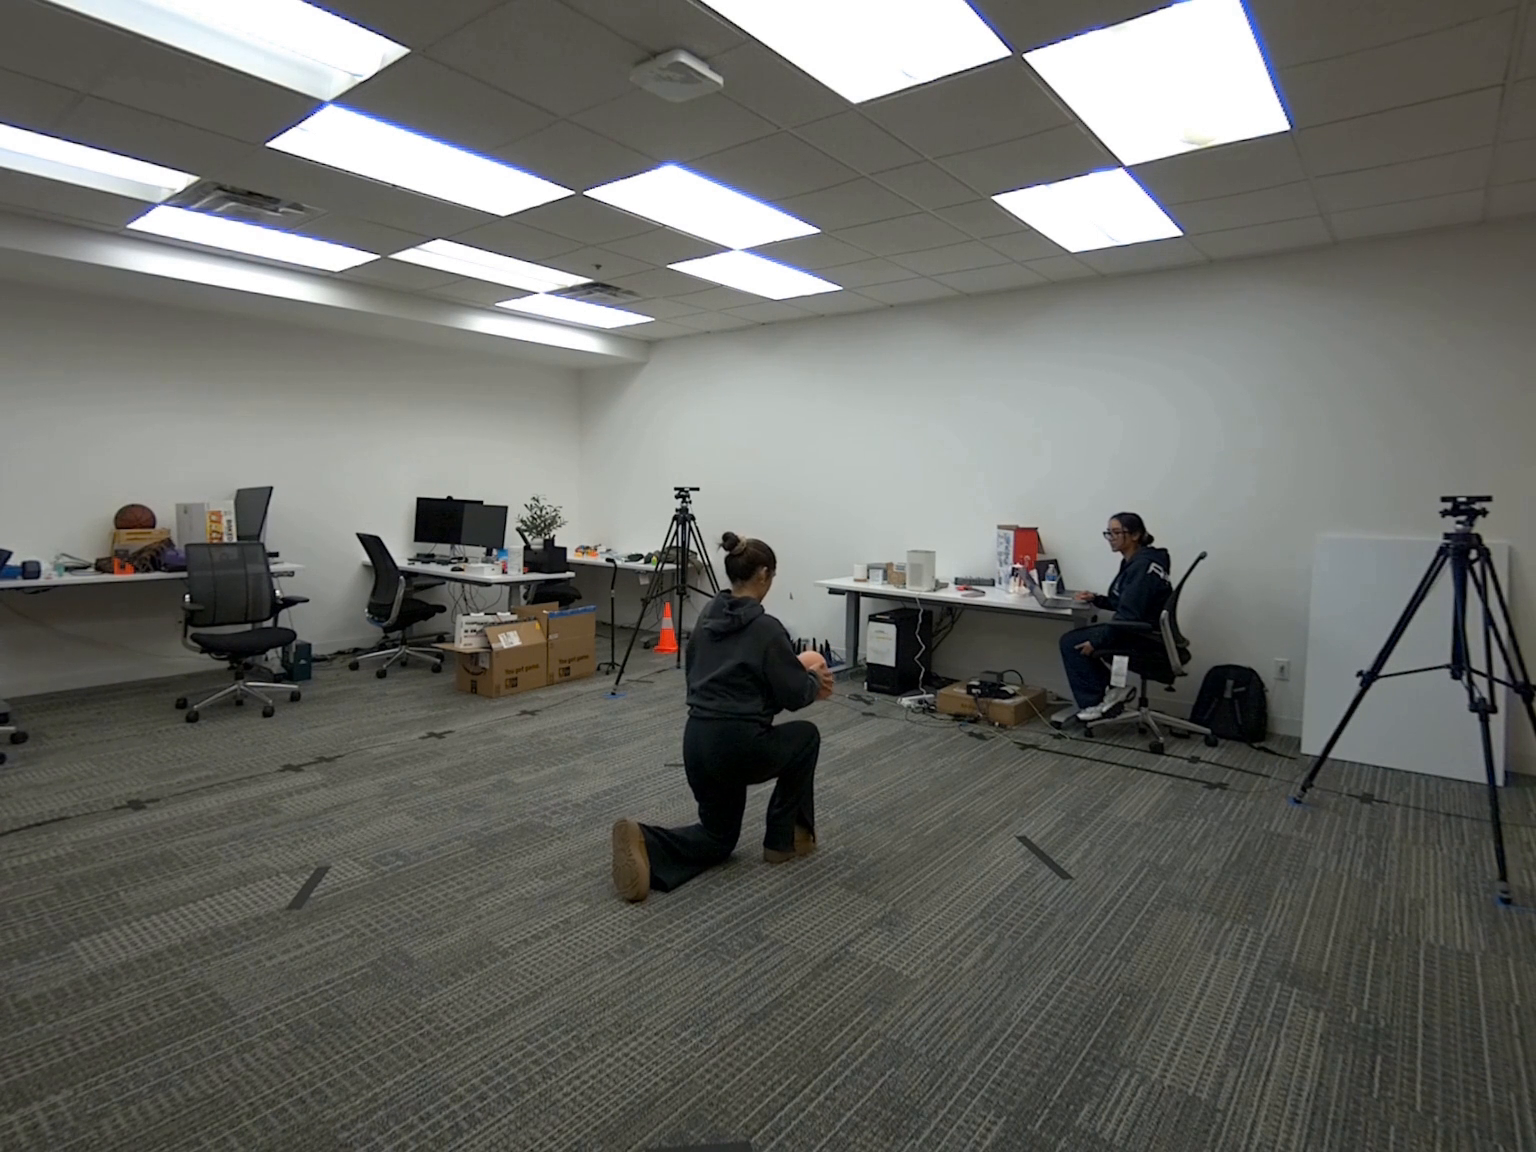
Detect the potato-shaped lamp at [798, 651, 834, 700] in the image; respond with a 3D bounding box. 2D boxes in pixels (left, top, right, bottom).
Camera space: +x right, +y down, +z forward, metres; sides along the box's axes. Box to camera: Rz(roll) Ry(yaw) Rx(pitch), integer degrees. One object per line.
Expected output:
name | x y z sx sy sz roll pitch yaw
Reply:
potato-shaped lamp | 0.174 0.407 3.456 0.168 0.195 0.171 -17 22 -38
